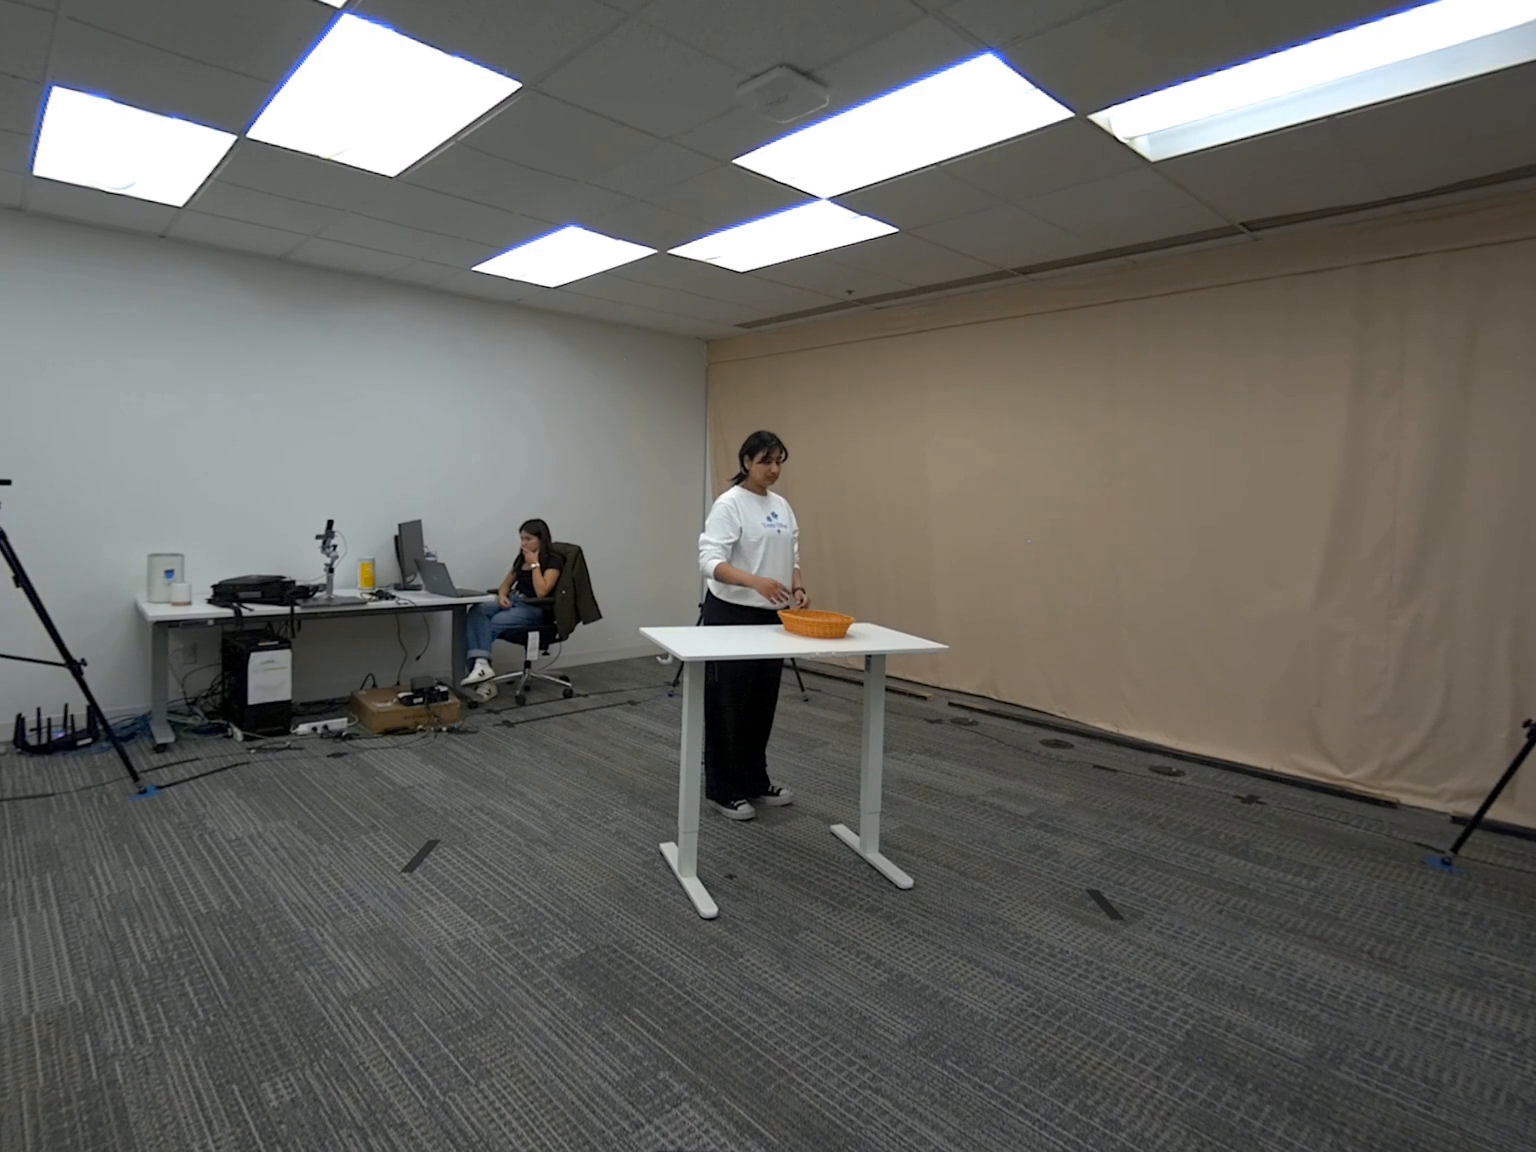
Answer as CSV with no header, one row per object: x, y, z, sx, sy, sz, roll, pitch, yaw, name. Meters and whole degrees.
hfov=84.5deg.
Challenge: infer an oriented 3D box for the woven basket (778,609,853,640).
0.166,0.187,3.264,0.247,0.073,0.358,-1,6,-30,woven basket
